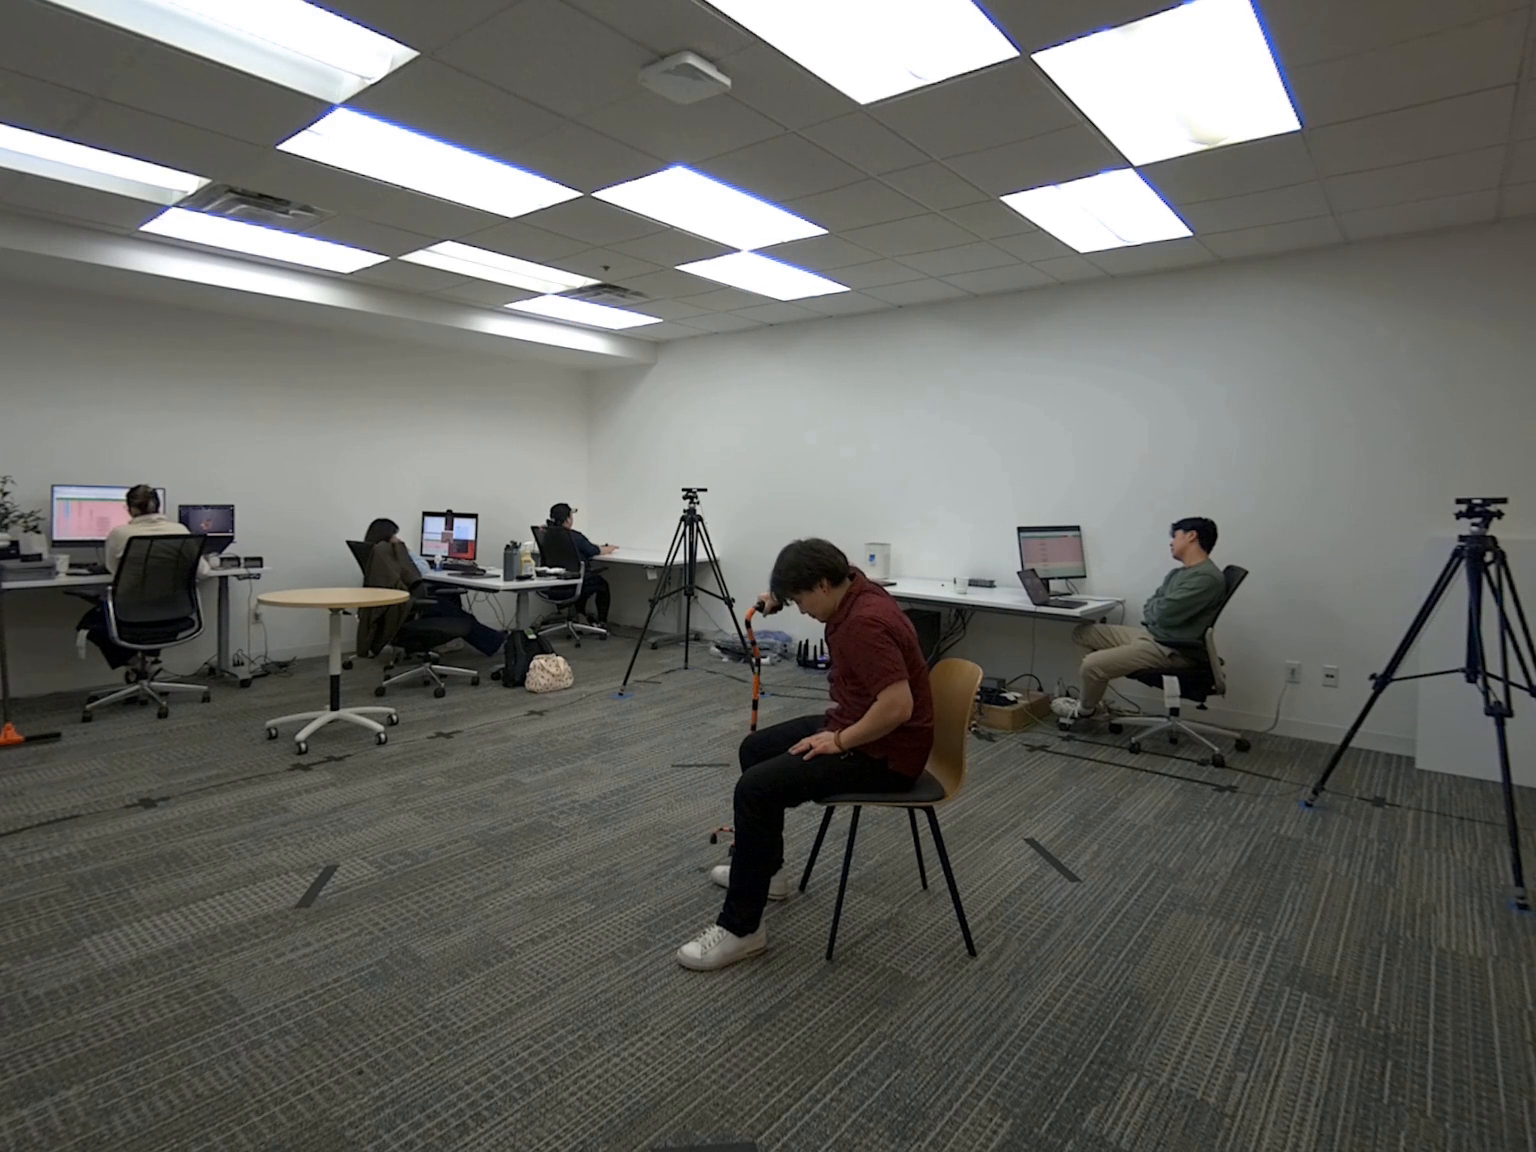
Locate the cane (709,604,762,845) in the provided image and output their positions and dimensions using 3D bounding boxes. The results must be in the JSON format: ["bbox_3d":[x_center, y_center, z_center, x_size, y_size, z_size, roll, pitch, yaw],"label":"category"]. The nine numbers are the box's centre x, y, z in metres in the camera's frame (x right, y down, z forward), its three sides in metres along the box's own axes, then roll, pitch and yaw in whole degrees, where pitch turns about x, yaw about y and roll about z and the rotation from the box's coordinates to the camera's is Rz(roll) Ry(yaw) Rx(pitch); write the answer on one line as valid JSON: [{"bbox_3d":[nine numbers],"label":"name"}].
[{"bbox_3d":[-0.080,0.548,3.143,0.200,0.906,0.157,1,2,-39],"label":"cane"}]
